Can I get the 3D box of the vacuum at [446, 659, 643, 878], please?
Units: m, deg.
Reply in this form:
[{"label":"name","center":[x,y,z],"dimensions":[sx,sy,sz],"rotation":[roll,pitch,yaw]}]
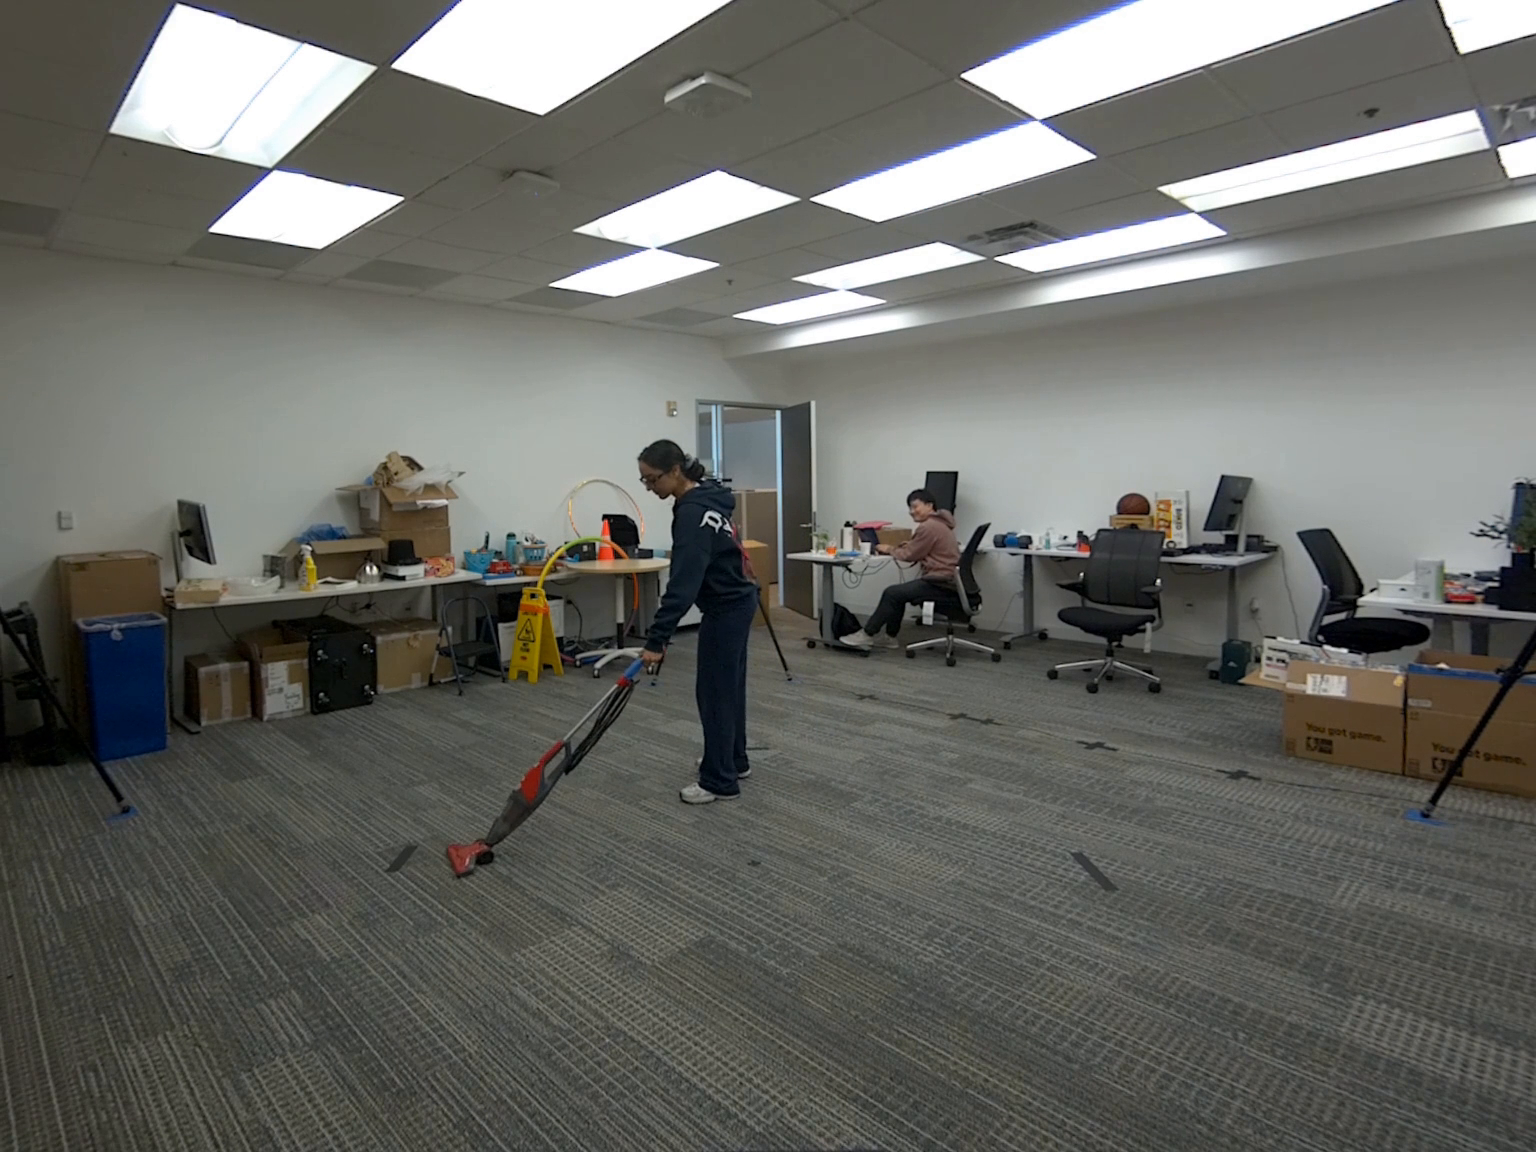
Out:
[{"label":"vacuum","center":[-0.758,0.677,3.343],"dimensions":[1.049,0.139,0.261],"rotation":[-47,35,-19]}]
